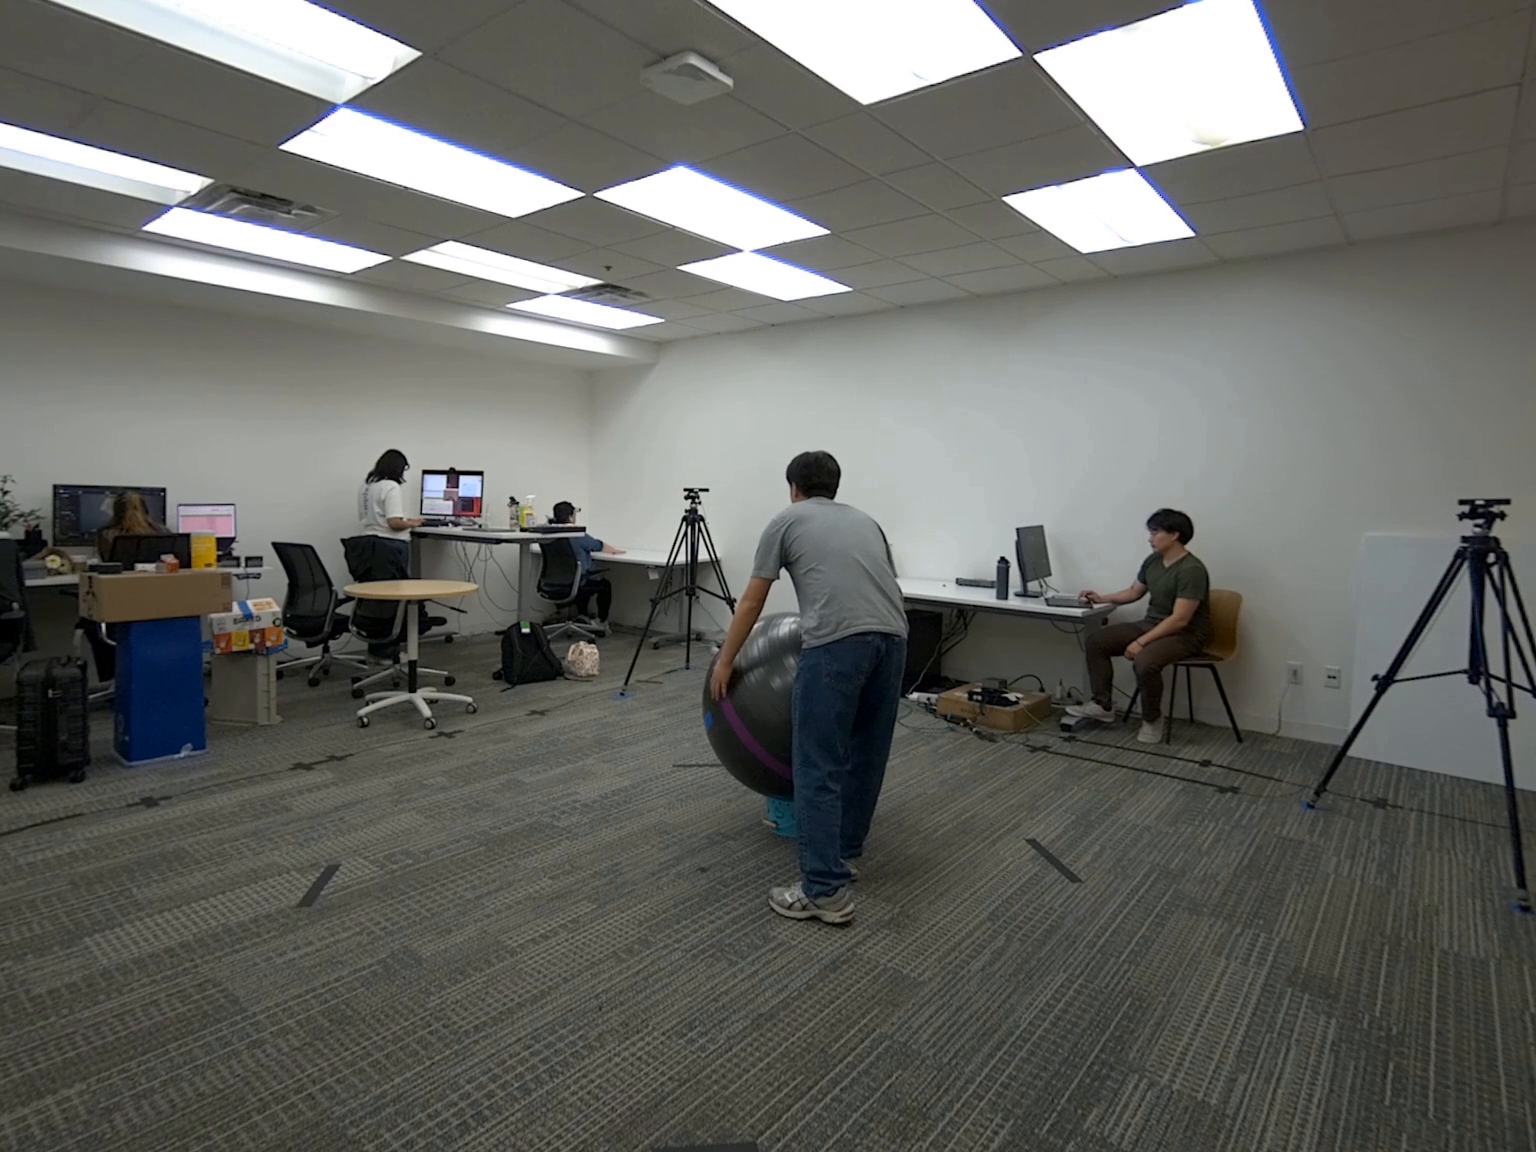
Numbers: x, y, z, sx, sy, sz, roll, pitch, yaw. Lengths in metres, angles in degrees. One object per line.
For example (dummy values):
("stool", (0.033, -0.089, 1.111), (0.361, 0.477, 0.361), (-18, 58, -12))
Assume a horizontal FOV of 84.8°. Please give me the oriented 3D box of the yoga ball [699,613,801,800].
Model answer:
("yoga ball", (0.104, 0.529, 3.495), (0.757, 0.756, 0.761), (1, 4, -2))
